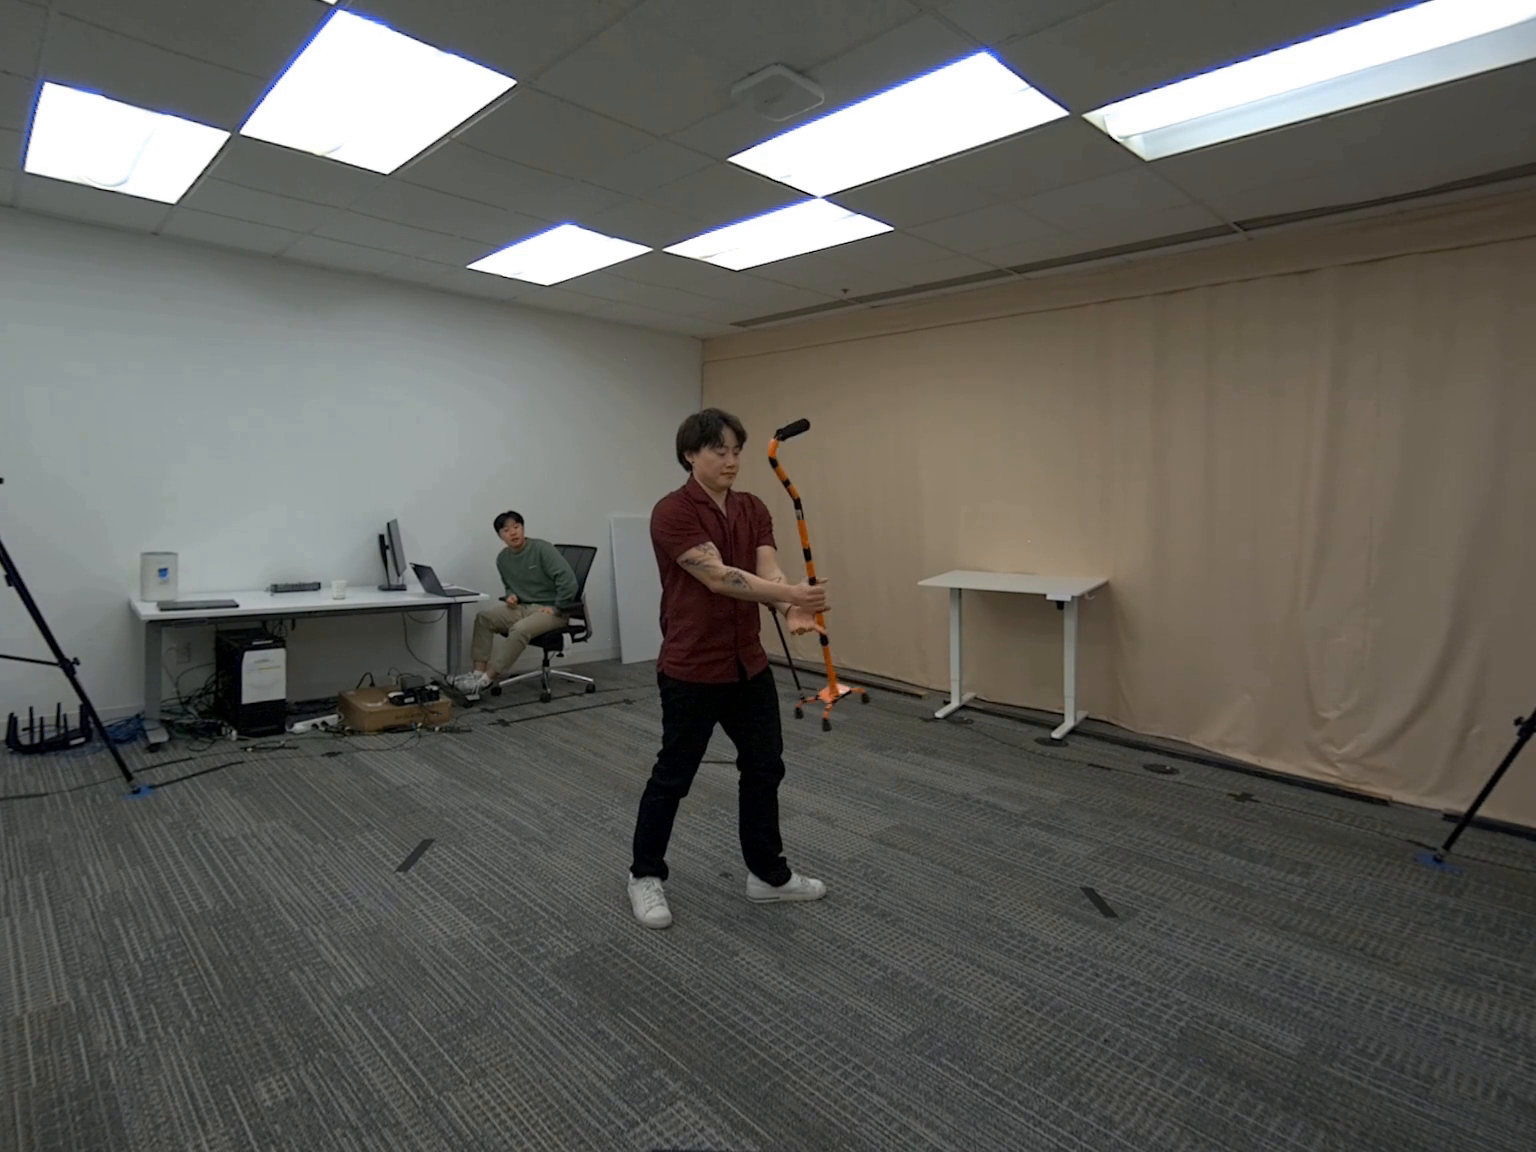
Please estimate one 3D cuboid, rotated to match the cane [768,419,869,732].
[{"bbox_3d":[0.109,0.002,2.477,0.204,0.894,0.156,-25,23,-37],"label":"cane"}]
